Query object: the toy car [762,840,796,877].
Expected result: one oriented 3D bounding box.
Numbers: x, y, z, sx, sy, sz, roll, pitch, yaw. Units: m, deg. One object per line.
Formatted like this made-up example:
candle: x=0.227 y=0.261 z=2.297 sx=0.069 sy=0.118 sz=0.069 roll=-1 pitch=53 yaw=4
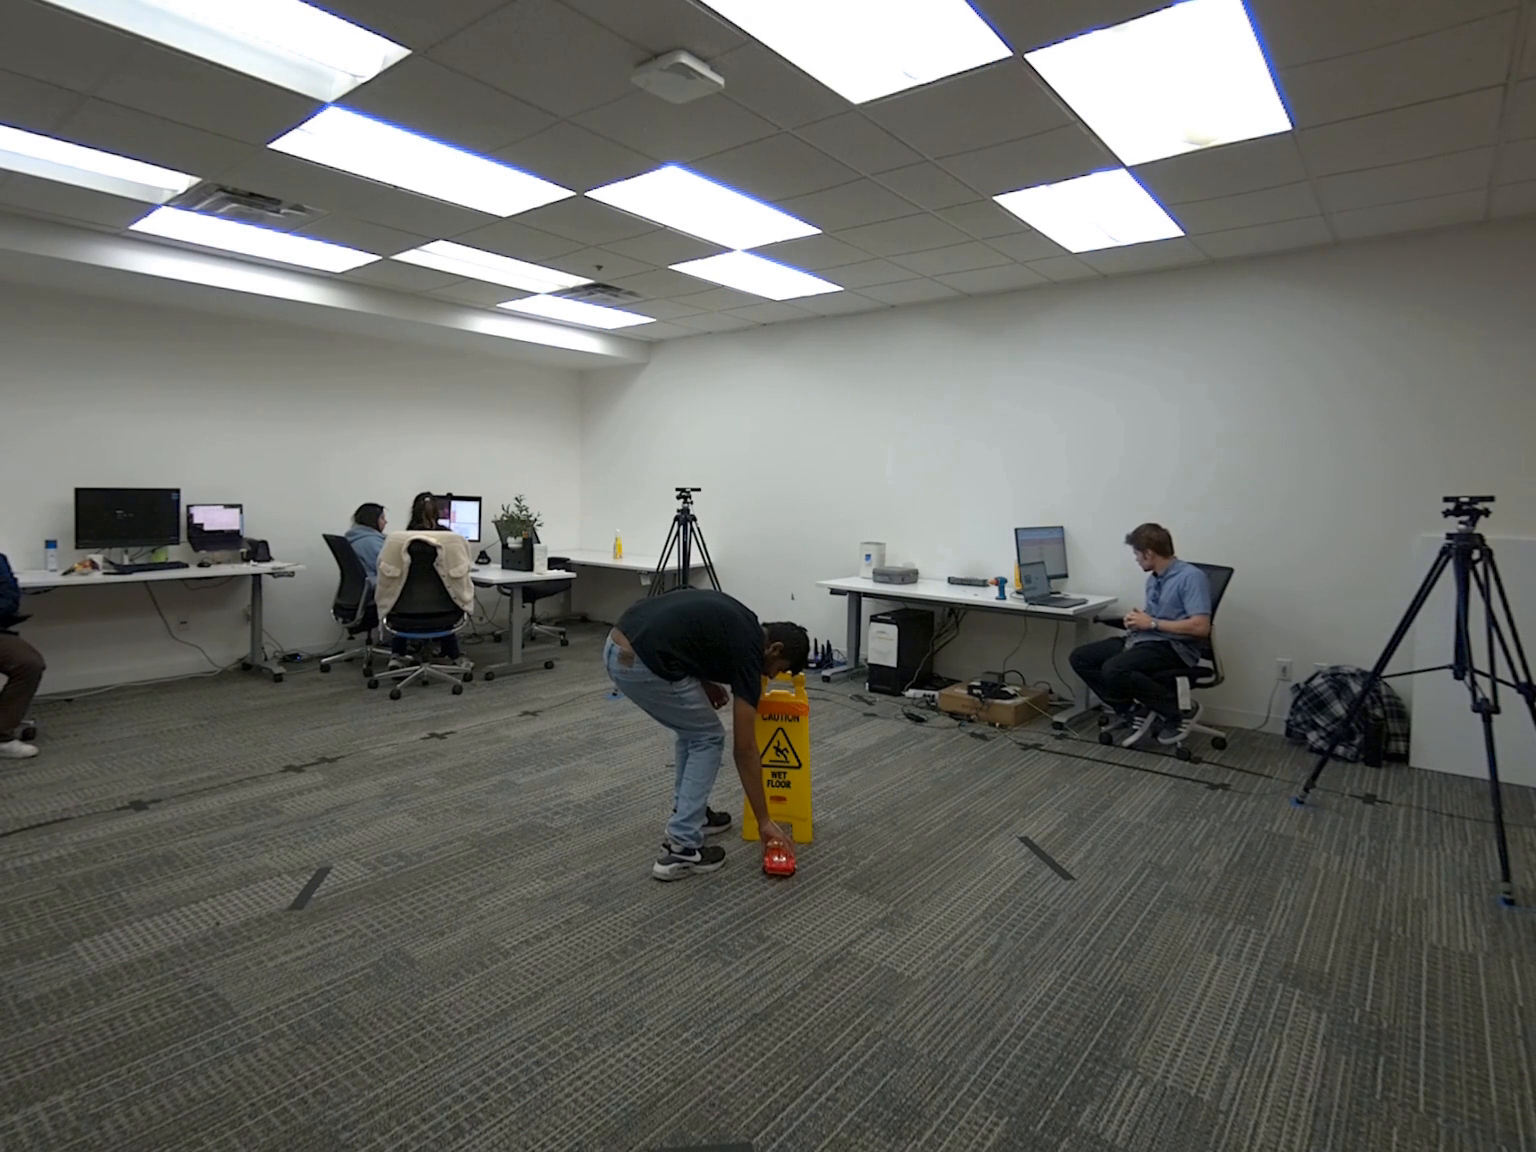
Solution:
toy car: x=0.028 y=1.035 z=3.139 sx=0.131 sy=0.084 sz=0.252 roll=2 pitch=-5 yaw=1
